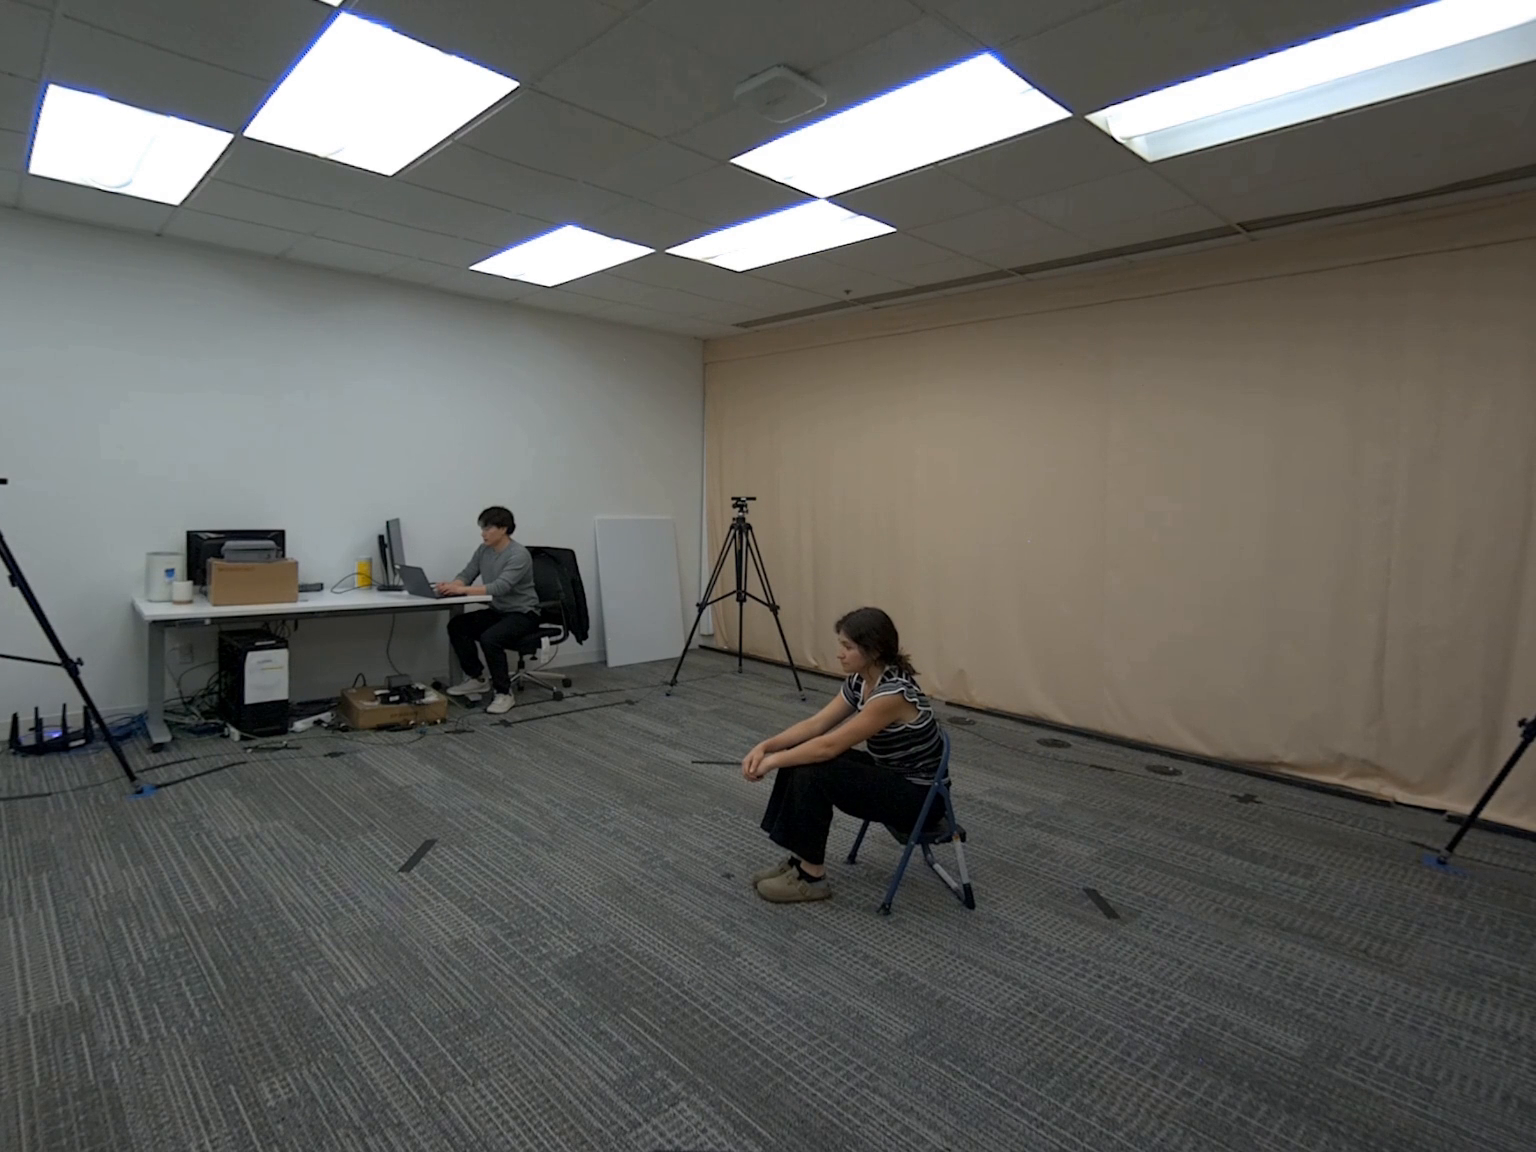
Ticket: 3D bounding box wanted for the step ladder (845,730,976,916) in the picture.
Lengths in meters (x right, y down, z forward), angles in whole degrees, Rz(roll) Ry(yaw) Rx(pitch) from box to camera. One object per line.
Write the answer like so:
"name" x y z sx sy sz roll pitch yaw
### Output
"step ladder" 0.505 0.831 3.055 0.346 0.604 0.435 1 5 -10
